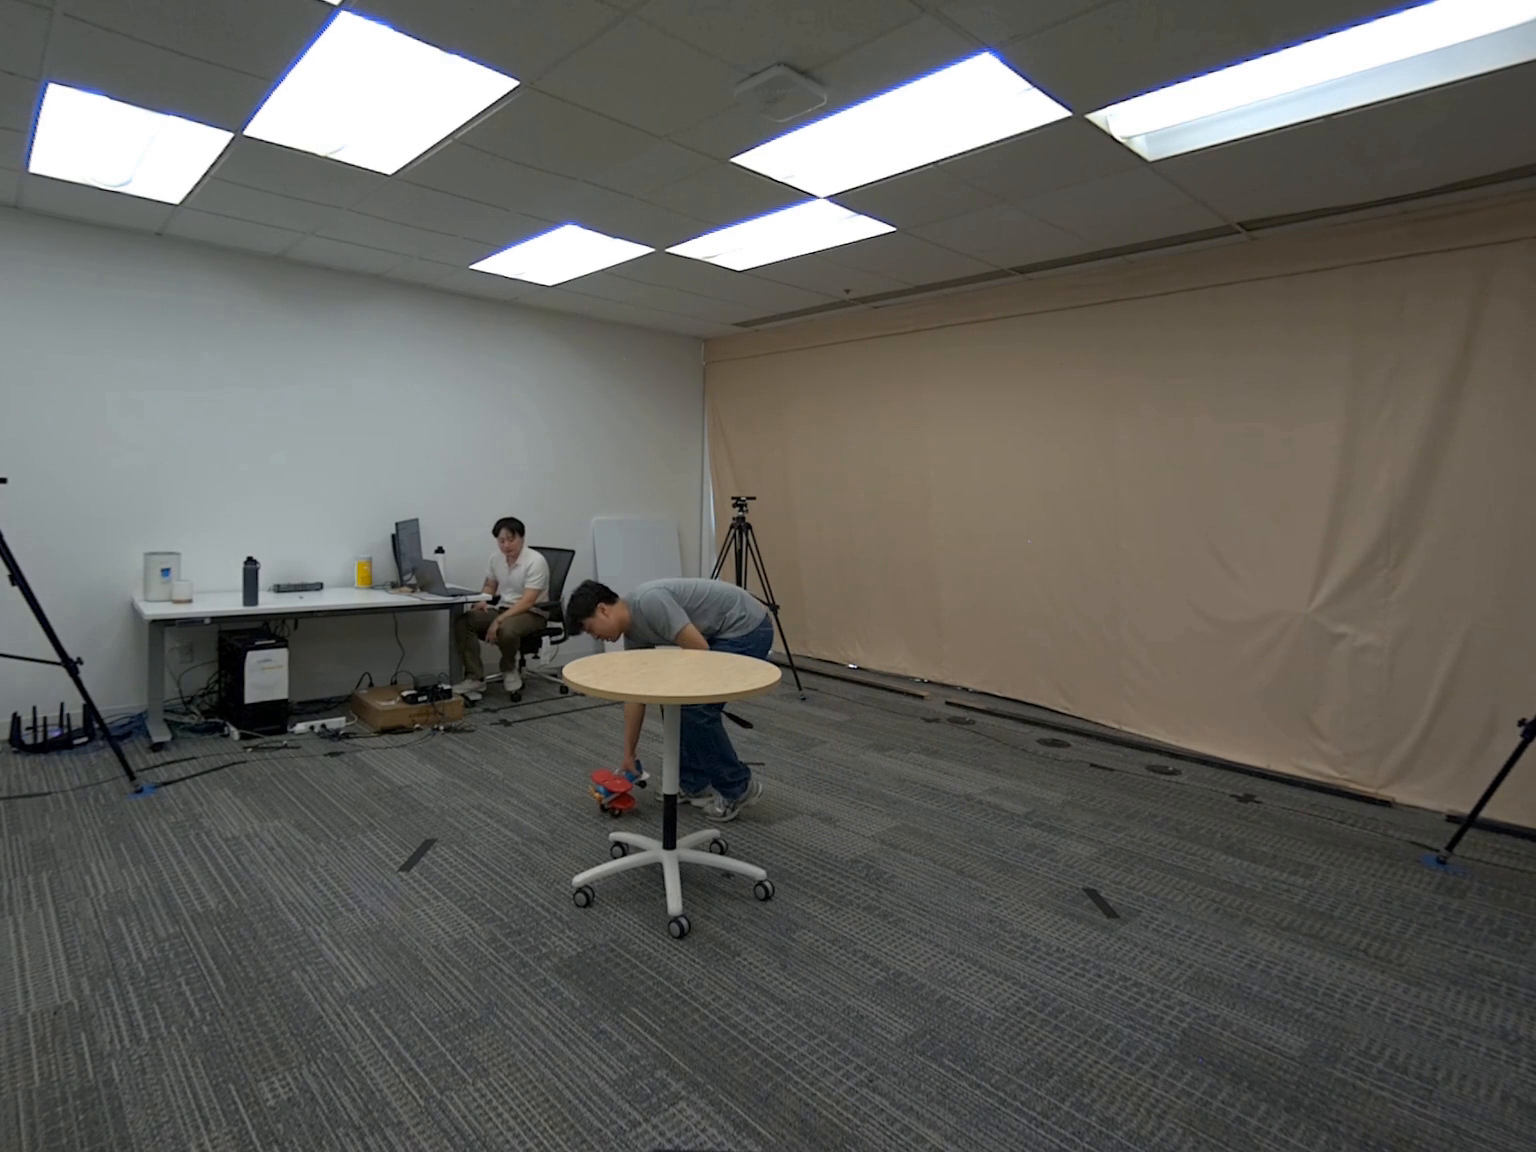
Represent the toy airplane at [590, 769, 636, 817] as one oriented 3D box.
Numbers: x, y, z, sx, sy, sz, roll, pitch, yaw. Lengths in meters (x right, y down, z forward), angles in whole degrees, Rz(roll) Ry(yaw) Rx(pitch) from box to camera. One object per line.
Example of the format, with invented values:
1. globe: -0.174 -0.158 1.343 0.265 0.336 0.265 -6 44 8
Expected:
1. toy airplane: -0.670 0.931 3.719 0.254 0.153 0.261 -9 28 21
